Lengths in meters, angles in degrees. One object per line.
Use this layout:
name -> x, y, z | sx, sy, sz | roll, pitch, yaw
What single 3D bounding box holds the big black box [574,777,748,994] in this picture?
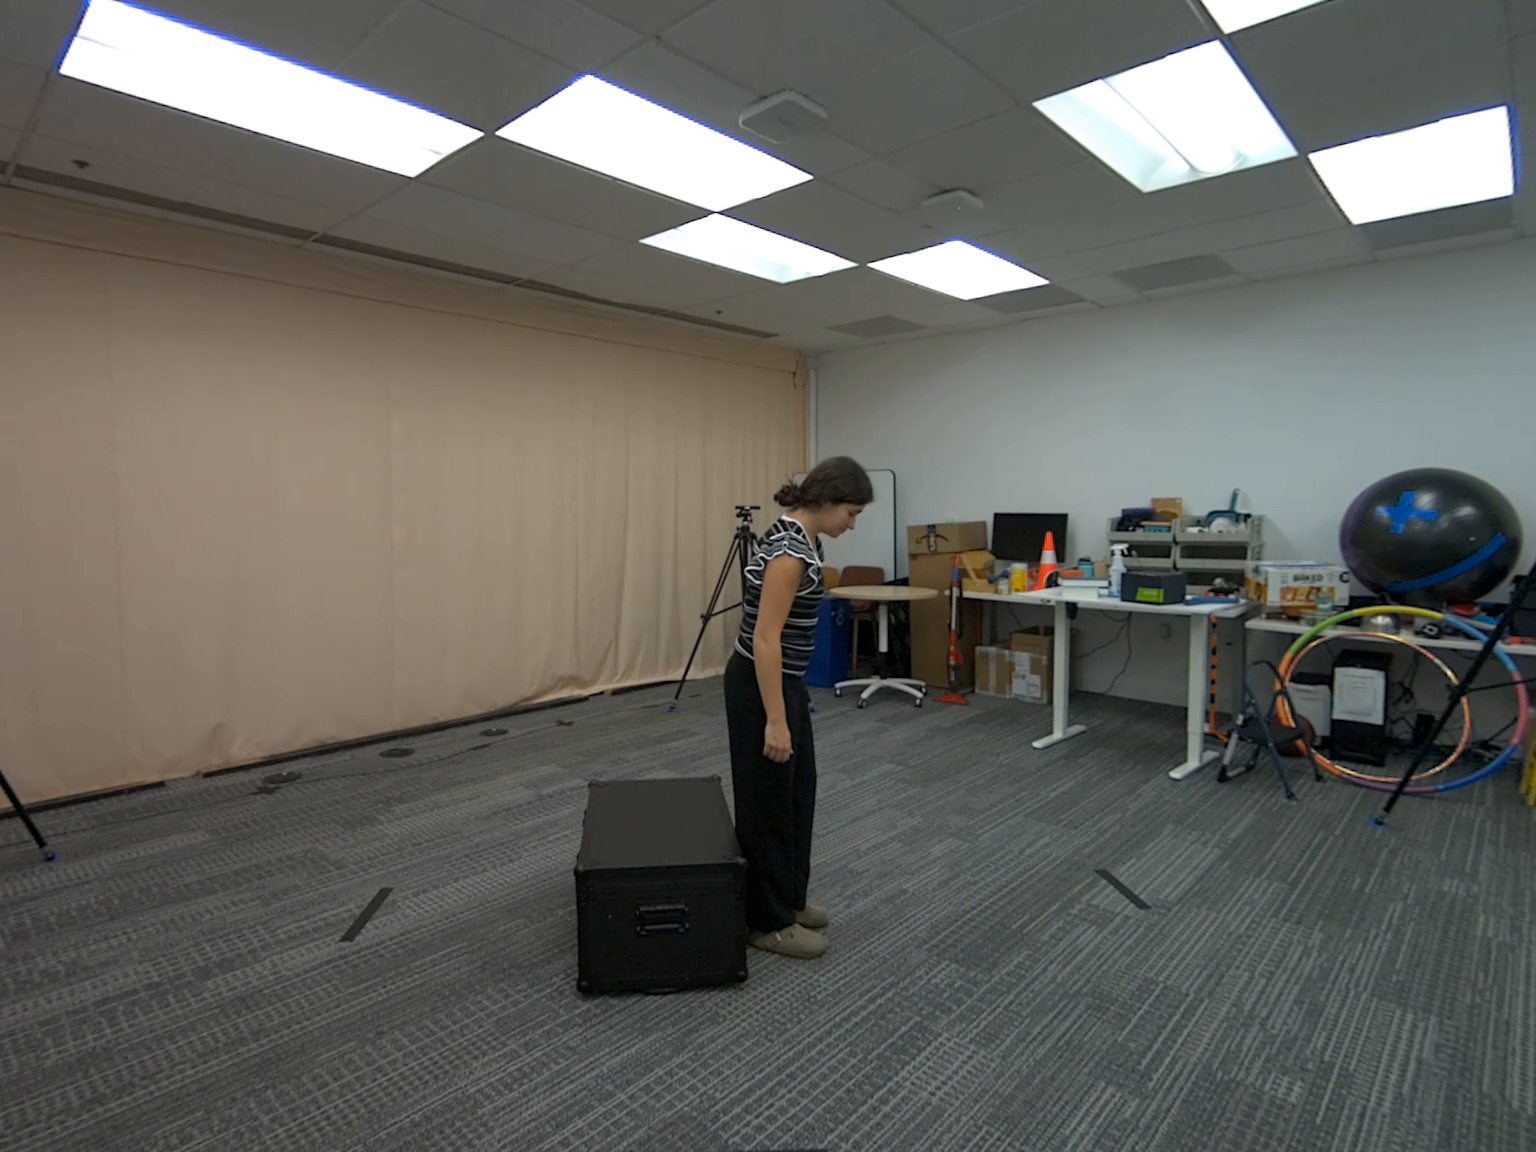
big black box -> -0.360, 0.969, 2.804 | 0.517, 0.395, 0.871 | -1, 4, -9
